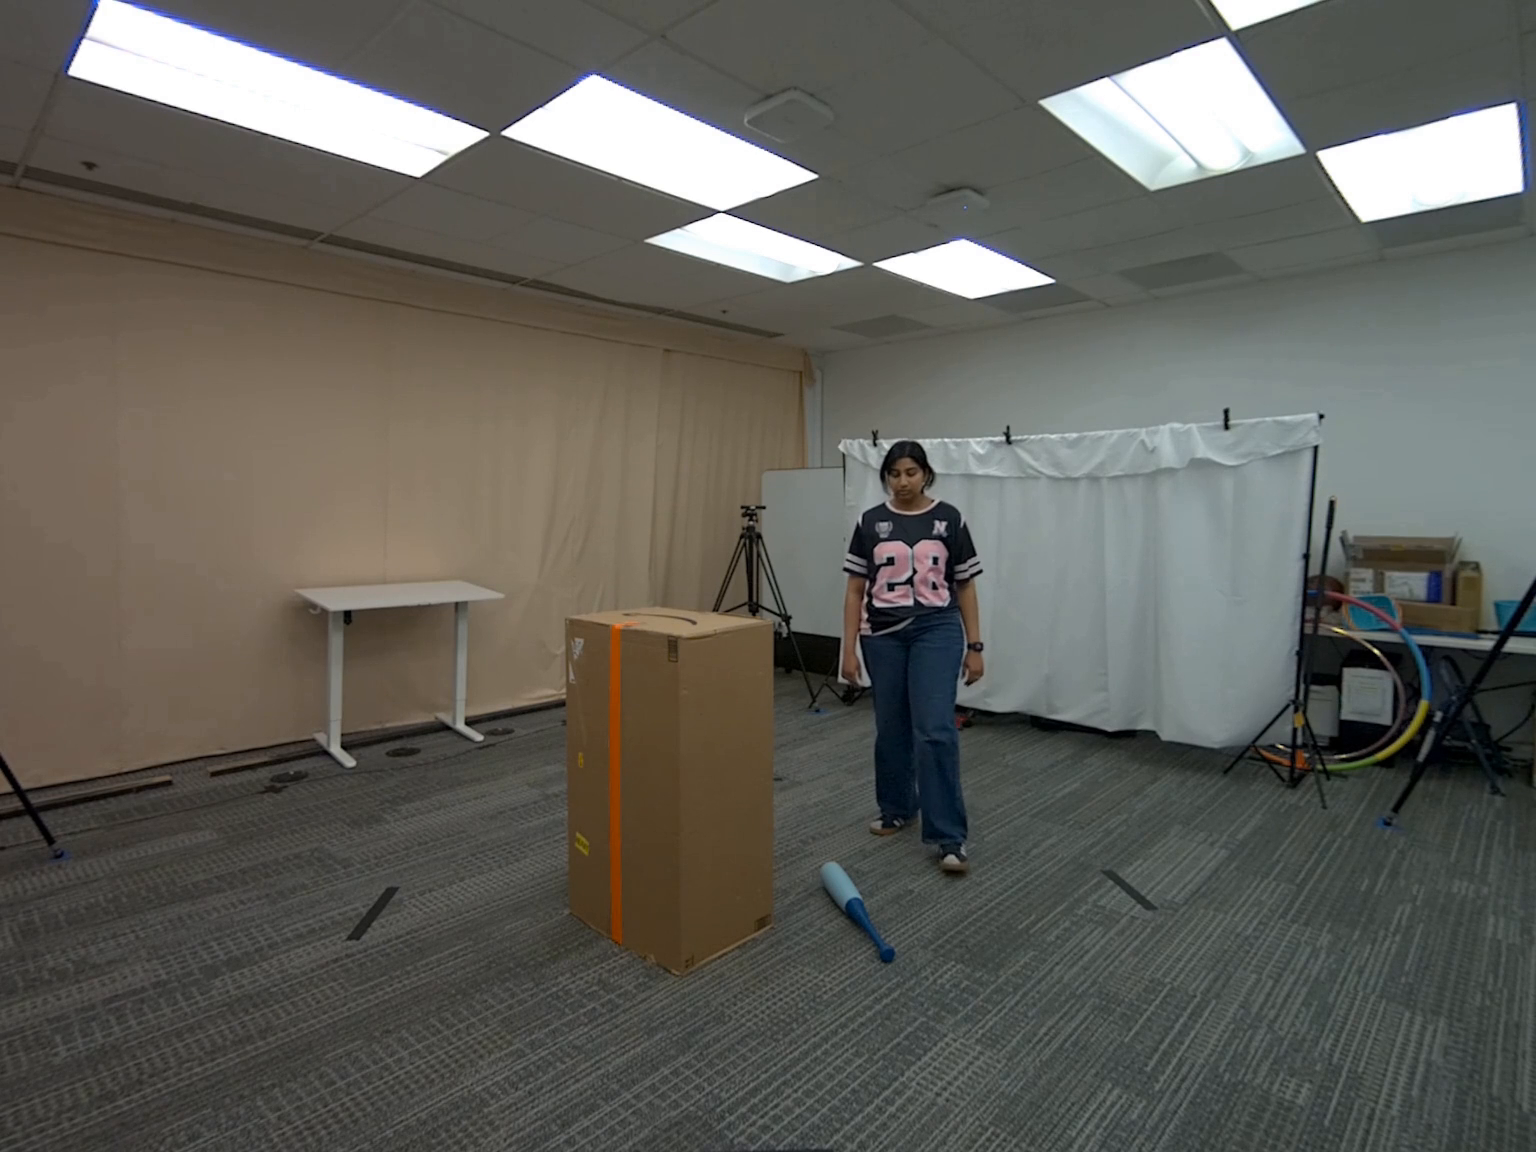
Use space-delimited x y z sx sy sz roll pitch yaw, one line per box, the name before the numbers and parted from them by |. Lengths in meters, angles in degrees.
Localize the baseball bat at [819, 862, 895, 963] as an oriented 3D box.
baseball bat | 0.297 1.123 2.813 0.088 0.088 0.553 -1 8 -14
